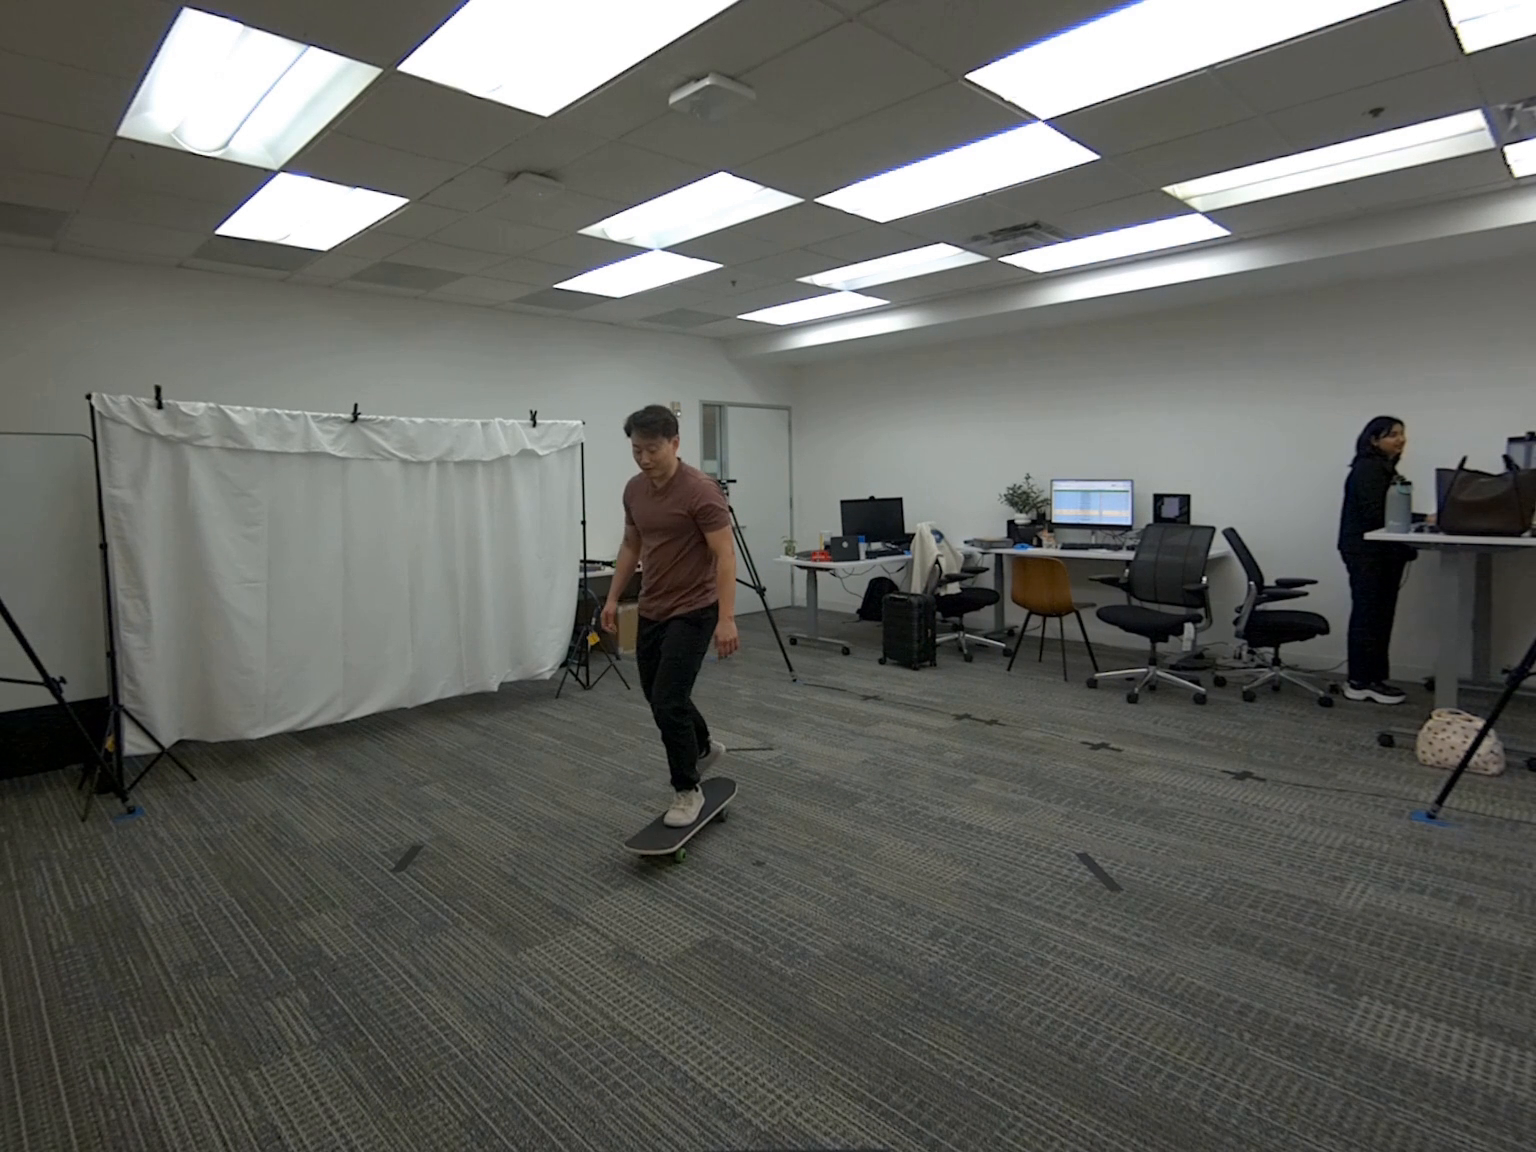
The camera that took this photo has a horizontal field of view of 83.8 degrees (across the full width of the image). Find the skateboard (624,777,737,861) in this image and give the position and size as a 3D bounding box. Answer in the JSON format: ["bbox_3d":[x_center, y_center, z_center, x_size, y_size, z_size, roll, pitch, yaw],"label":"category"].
[{"bbox_3d":[-0.327,0.971,3.343,0.197,0.110,0.773,0,6,20],"label":"skateboard"}]
